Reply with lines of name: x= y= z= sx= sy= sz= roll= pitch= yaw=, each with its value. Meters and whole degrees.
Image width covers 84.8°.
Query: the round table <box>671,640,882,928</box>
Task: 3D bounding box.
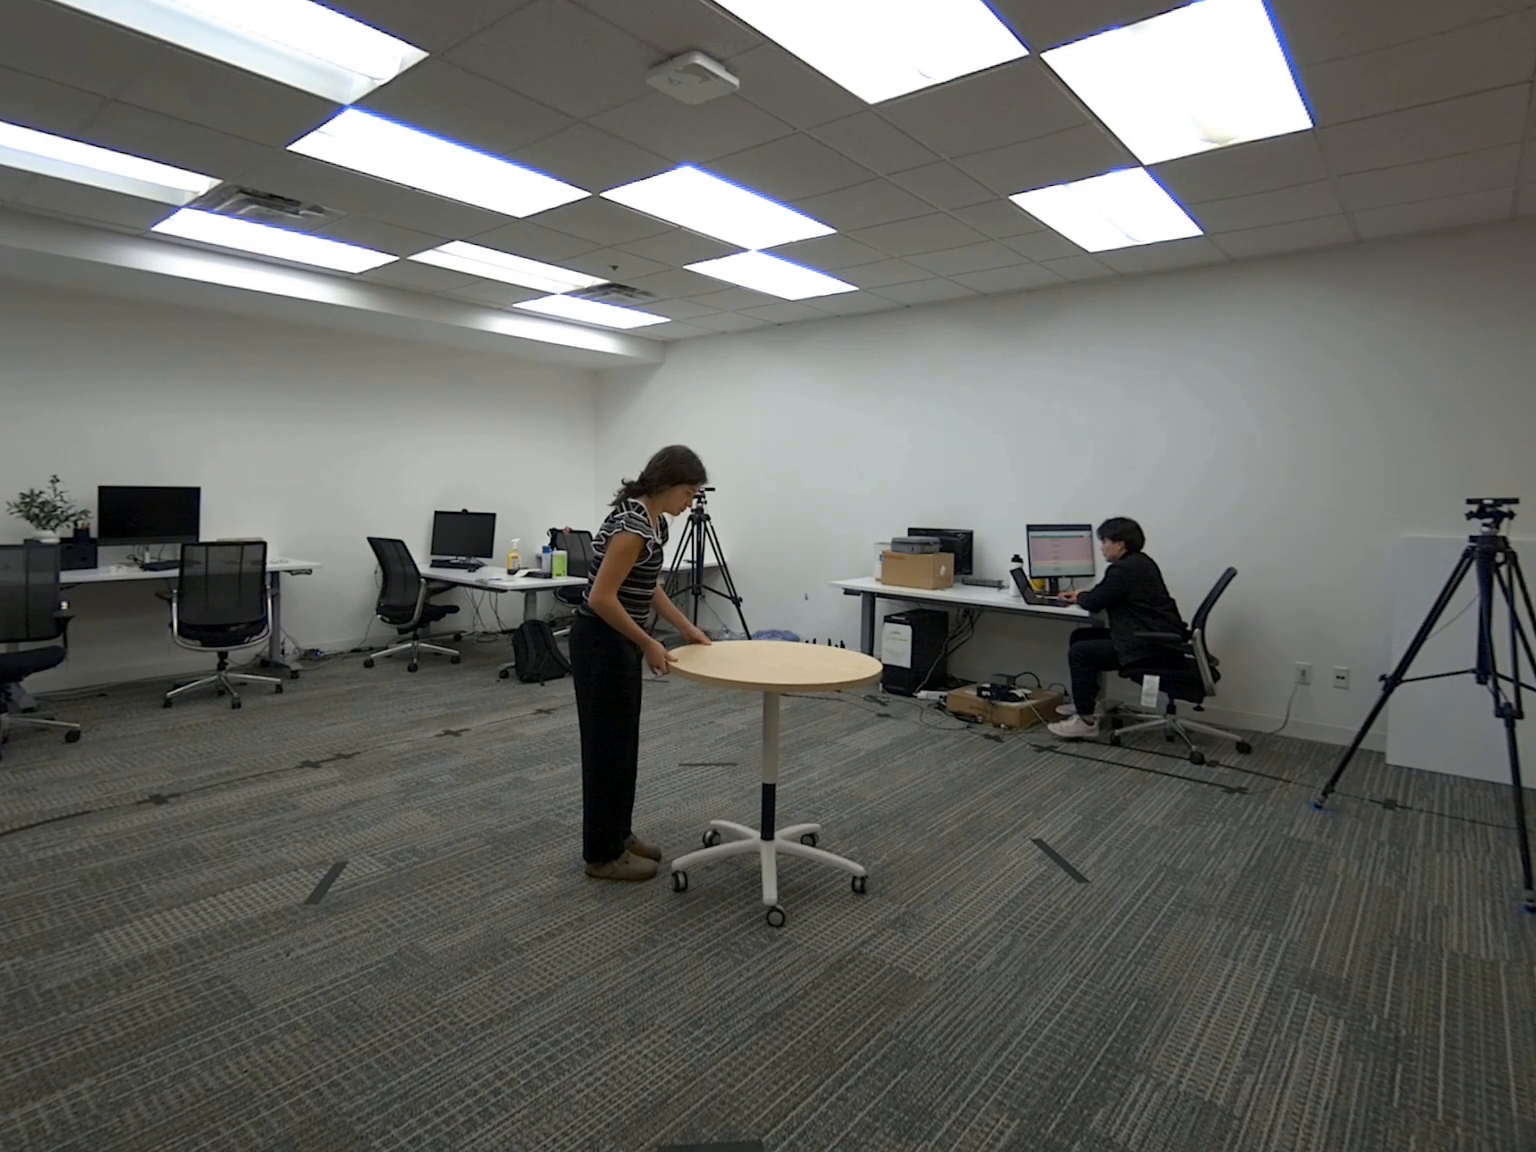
round table: x=-0.003 y=0.688 z=3.015 sx=0.784 sy=0.784 sz=0.788 roll=1 pitch=4 yaw=-2
